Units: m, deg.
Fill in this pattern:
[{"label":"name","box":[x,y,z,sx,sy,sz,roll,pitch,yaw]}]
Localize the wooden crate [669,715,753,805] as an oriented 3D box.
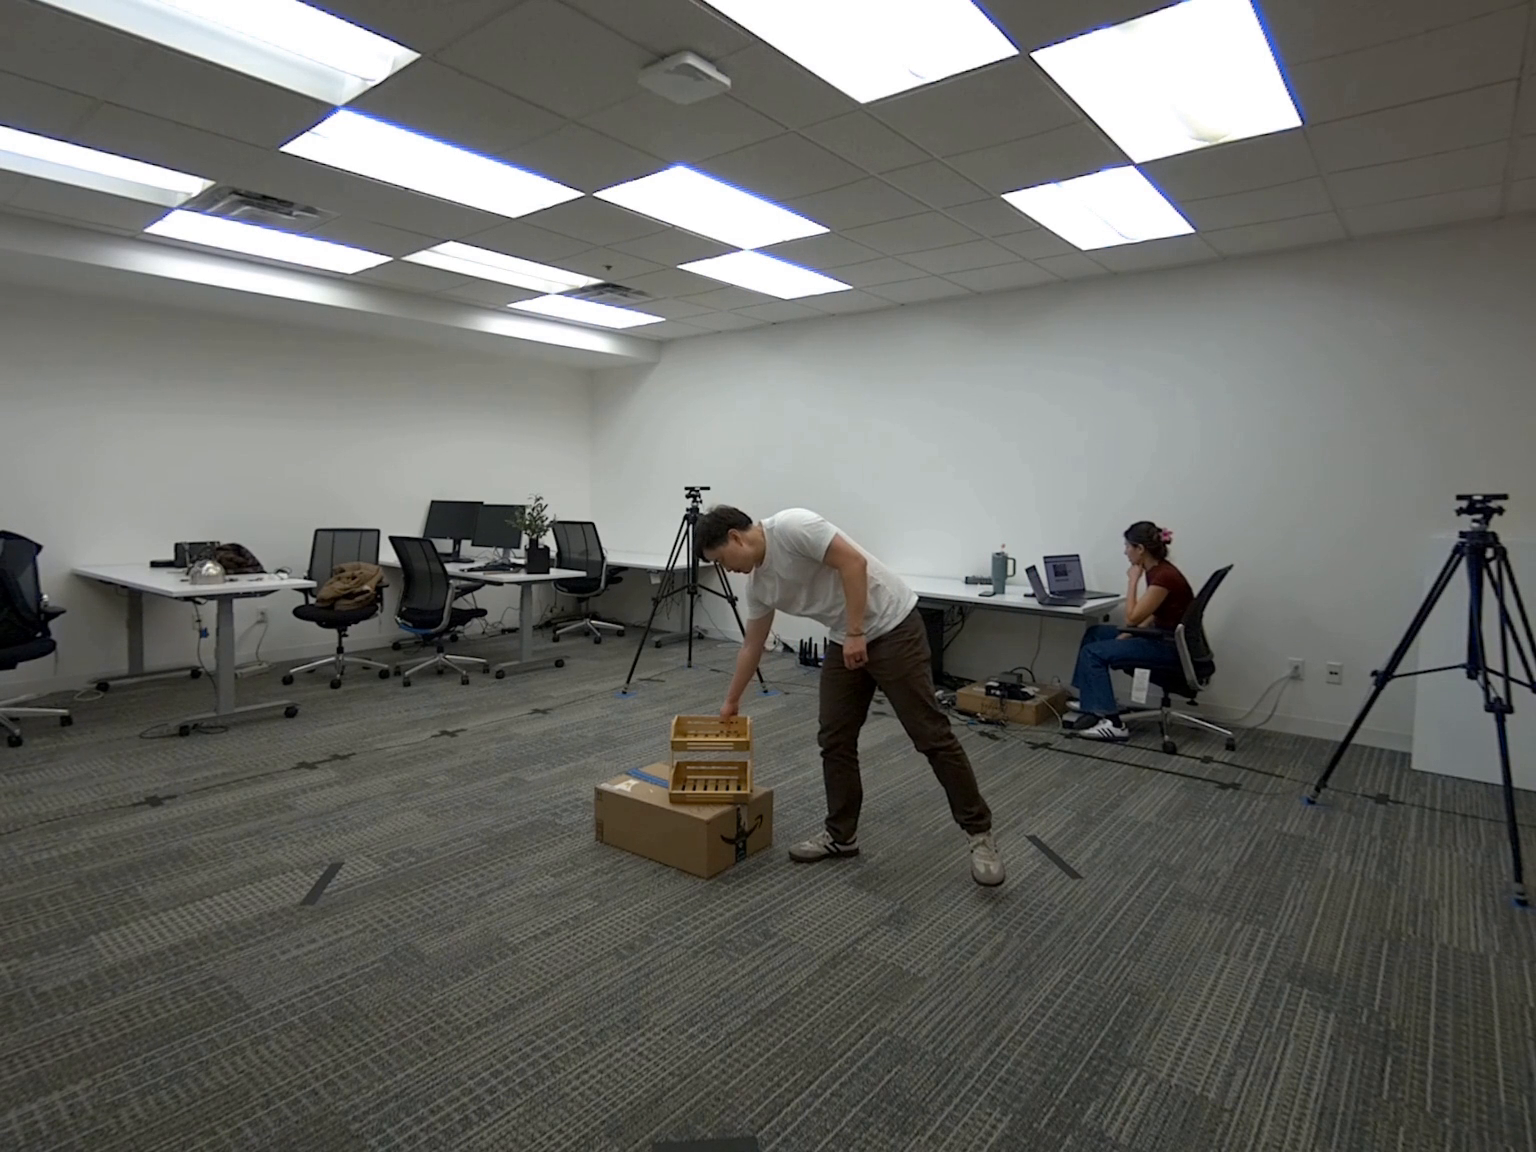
[{"label":"wooden crate","box":[-0.232,0.700,3.299,0.325,0.273,0.302,-2,2,1]}]
